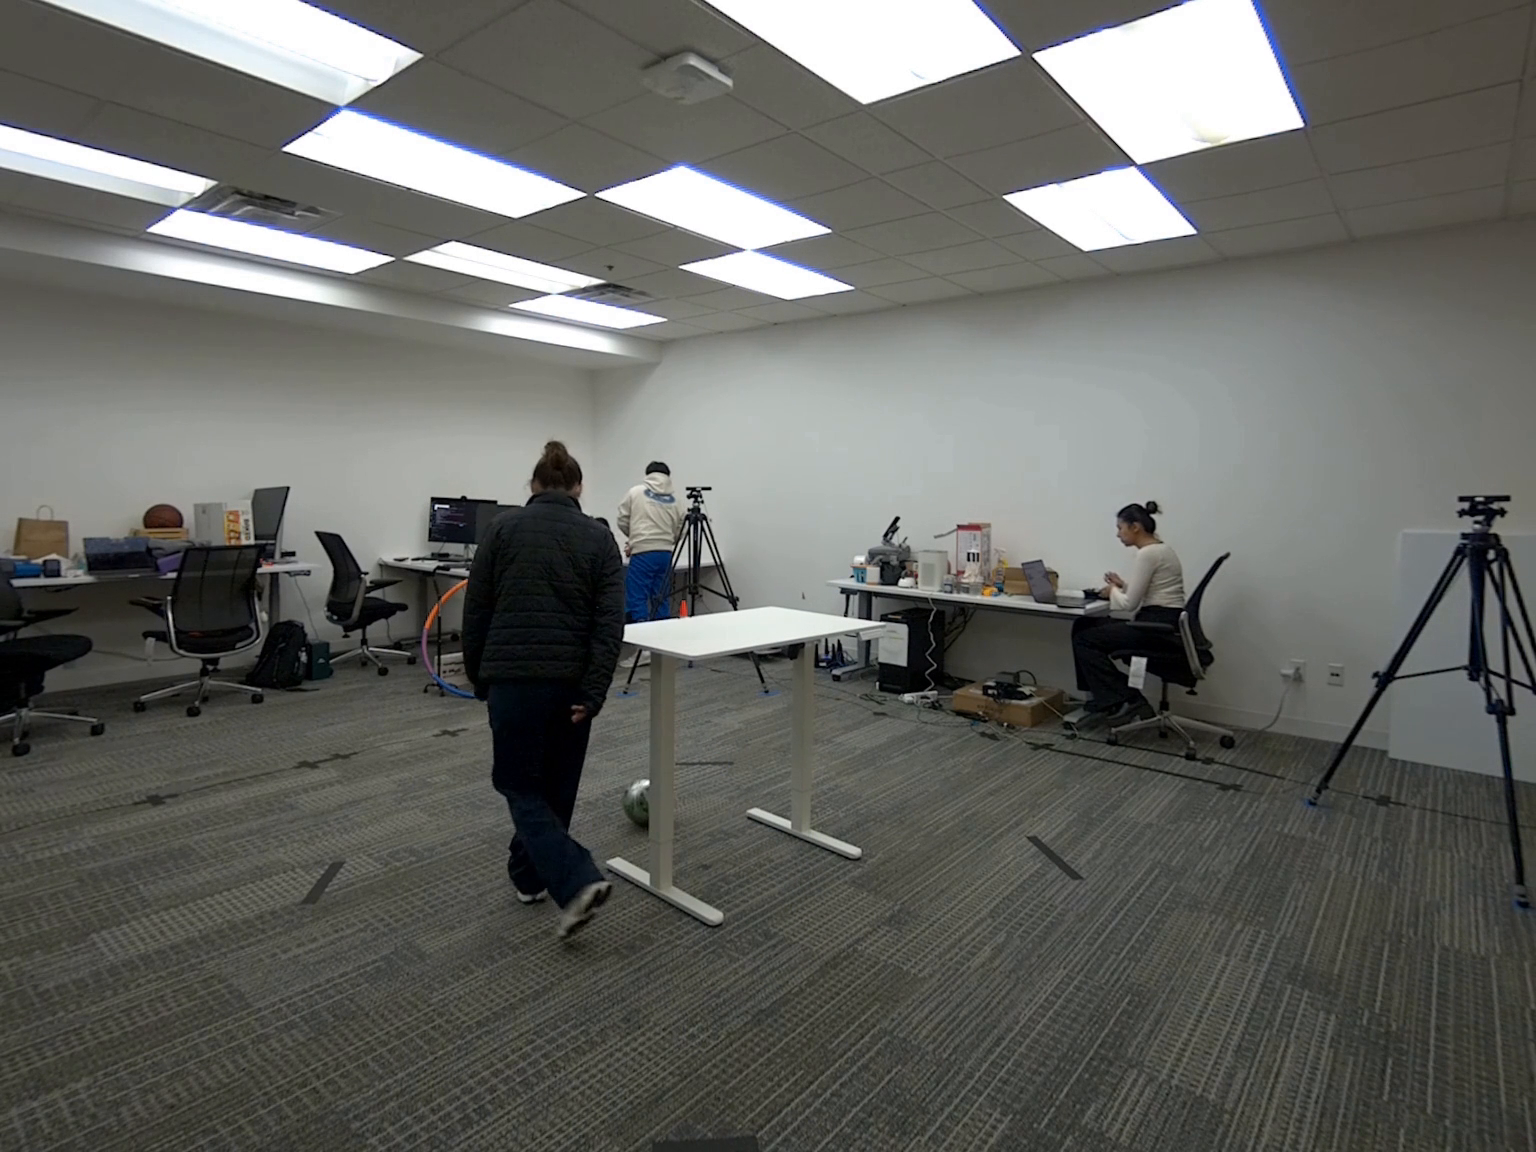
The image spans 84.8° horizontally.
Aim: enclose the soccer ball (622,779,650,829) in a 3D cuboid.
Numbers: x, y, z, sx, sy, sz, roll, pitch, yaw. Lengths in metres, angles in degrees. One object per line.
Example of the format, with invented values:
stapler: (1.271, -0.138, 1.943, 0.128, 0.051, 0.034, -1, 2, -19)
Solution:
soccer ball: (-0.519, 0.929, 3.512, 0.187, 0.187, 0.188, 1, 4, -2)
